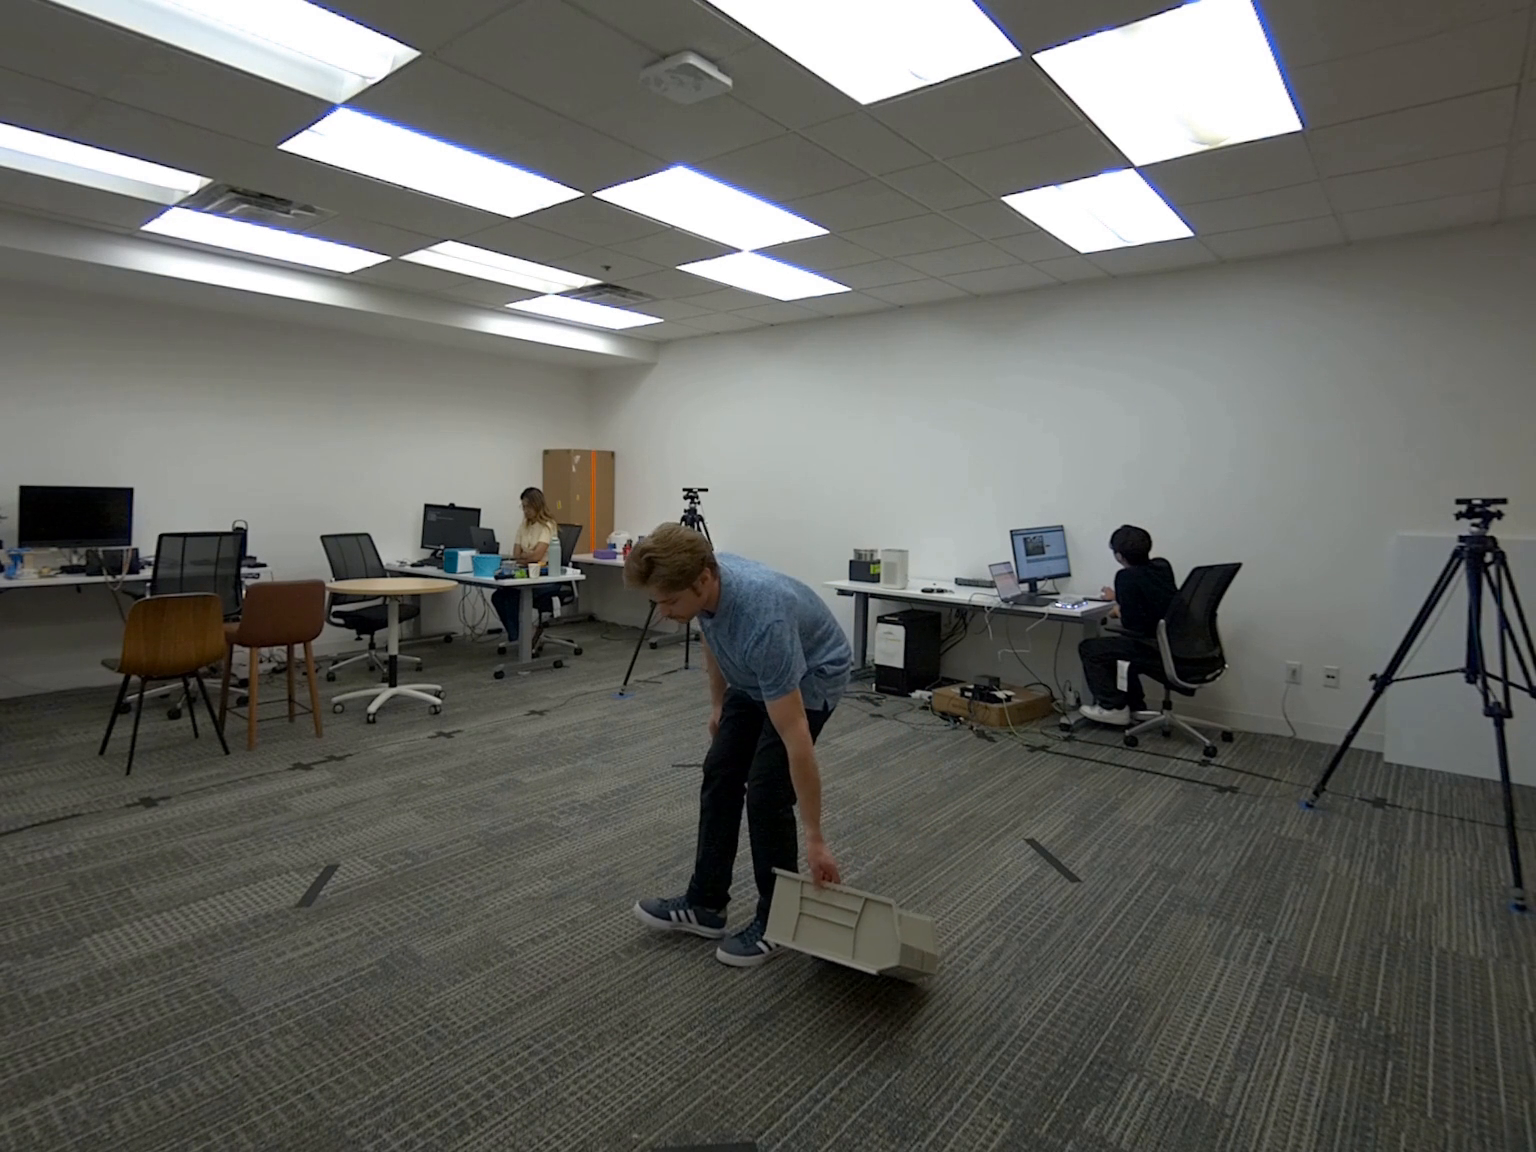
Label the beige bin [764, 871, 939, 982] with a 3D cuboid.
[{"bbox_3d":[0.238,0.976,2.350,0.388,0.191,0.405,3,-23,28],"label":"beige bin"}]
